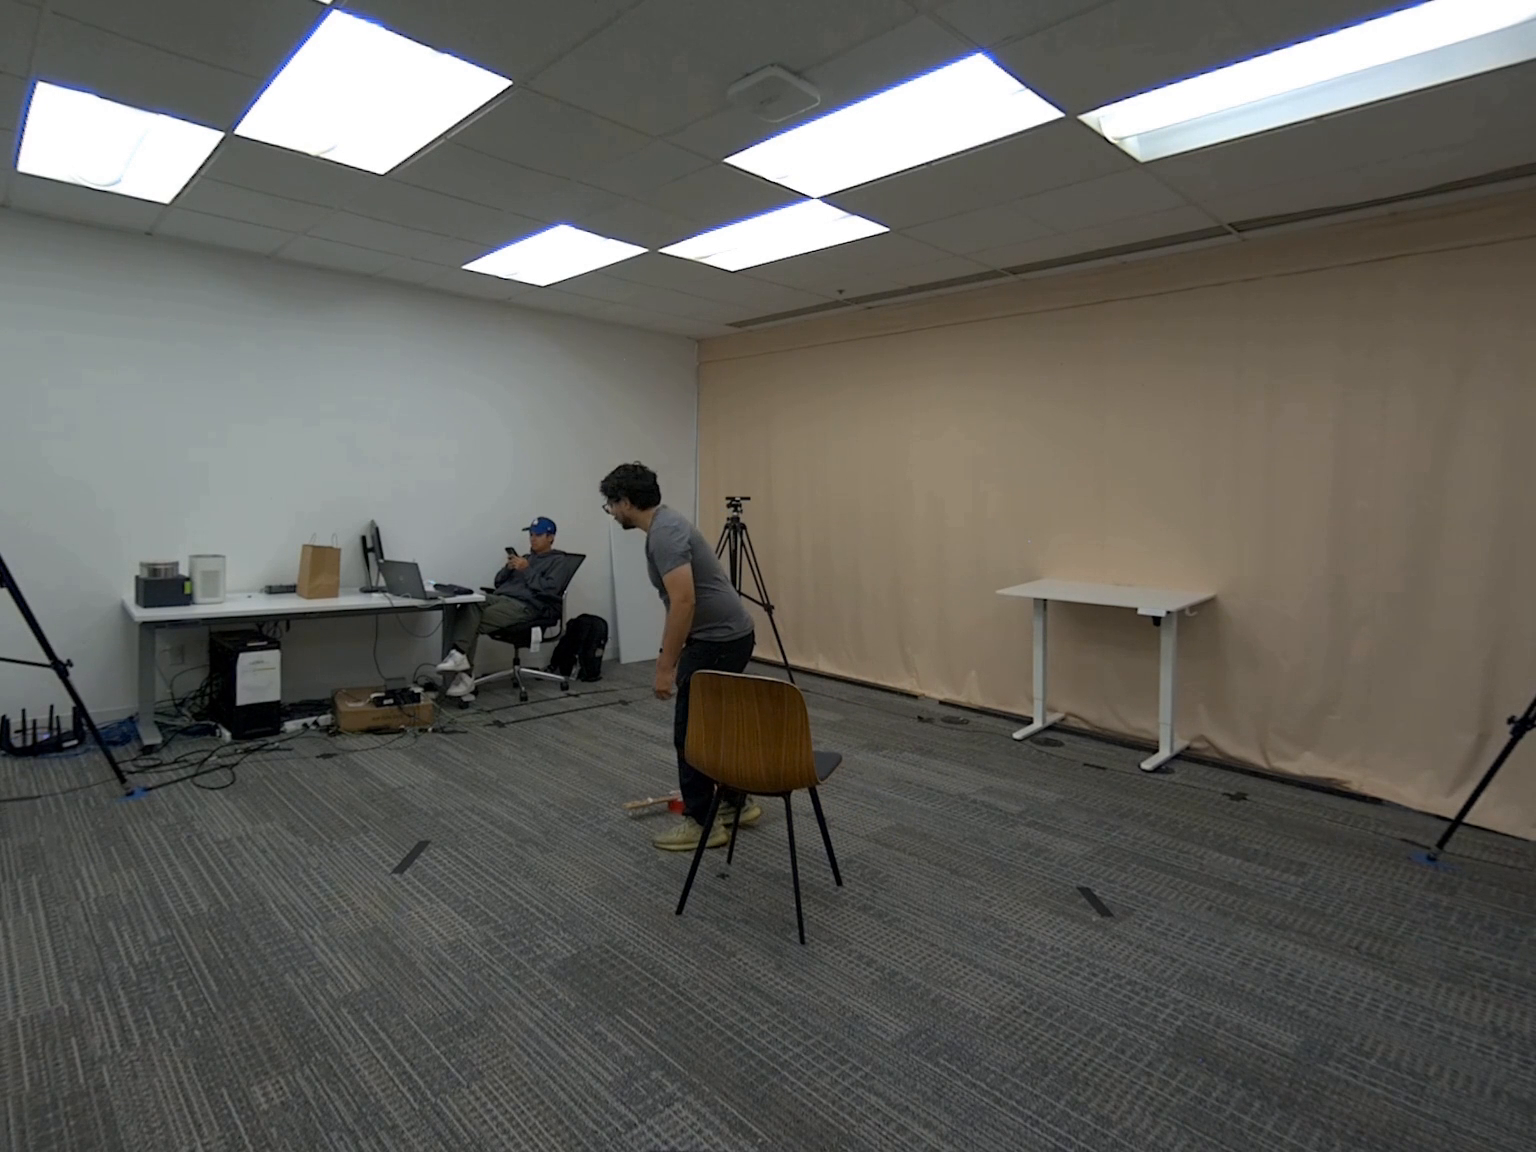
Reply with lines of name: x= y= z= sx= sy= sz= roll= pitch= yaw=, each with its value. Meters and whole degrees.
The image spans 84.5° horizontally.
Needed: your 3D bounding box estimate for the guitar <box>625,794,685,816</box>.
guitar: x=-0.440 y=1.009 z=3.783 sx=0.489 sy=0.070 sz=0.197 roll=-1 pitch=6 yaw=-25
